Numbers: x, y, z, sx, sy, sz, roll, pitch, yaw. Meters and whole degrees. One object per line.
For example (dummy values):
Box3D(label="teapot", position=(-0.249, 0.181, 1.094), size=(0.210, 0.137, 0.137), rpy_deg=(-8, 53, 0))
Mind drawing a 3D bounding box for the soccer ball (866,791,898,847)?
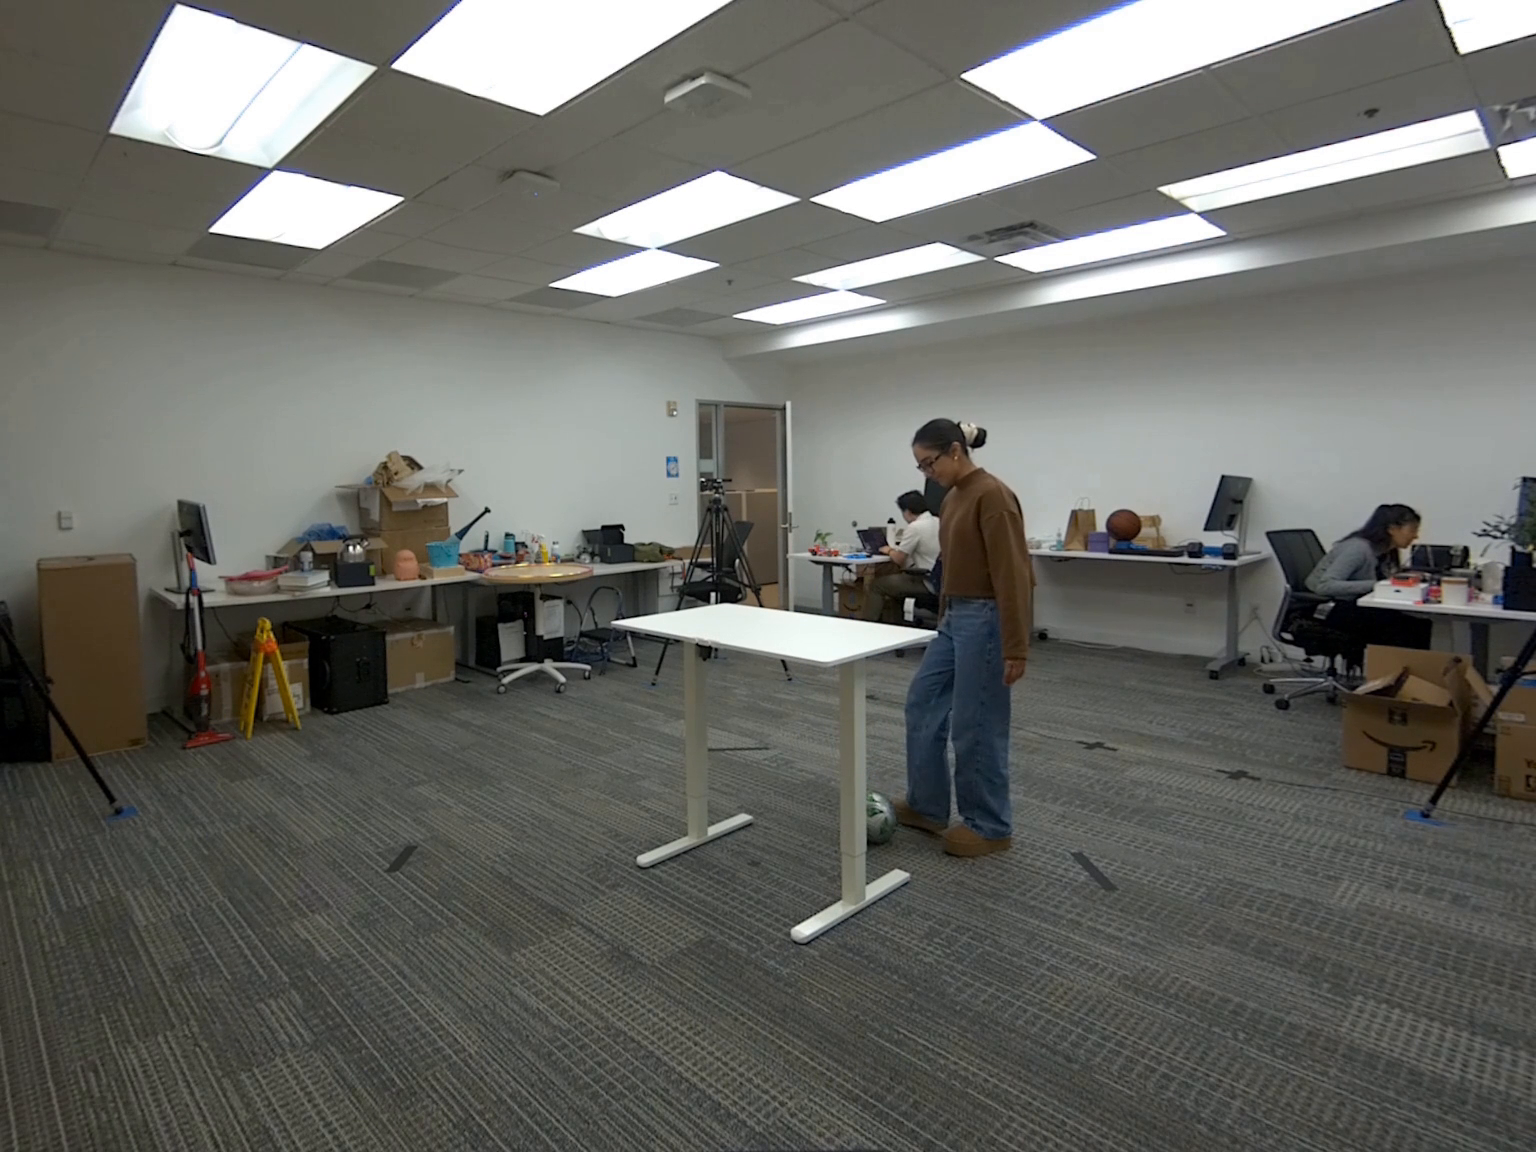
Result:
Box3D(label="soccer ball", position=(0.410, 0.921, 3.277), size=(0.187, 0.187, 0.188), rpy_deg=(-1, 5, -2))
